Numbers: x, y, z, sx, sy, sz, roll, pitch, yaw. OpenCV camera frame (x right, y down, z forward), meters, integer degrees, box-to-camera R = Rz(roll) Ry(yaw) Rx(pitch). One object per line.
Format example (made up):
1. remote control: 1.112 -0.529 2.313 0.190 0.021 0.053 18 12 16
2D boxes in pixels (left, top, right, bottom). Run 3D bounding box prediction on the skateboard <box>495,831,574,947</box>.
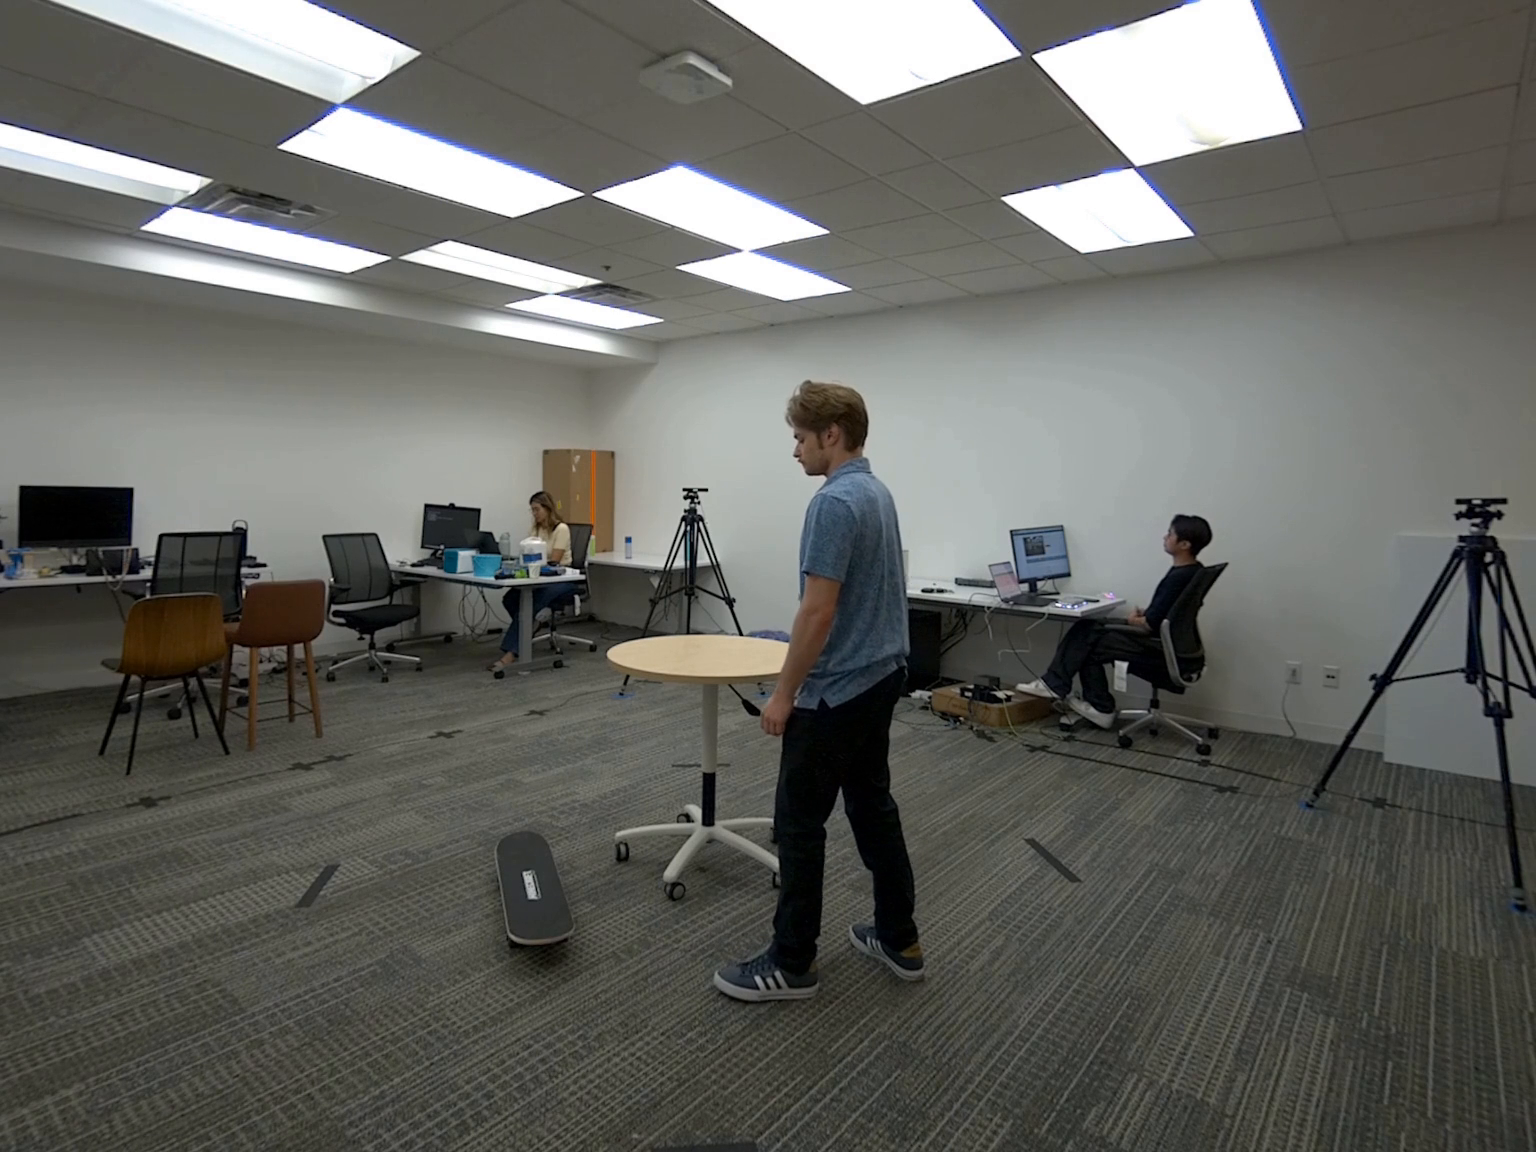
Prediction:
1. skateboard: -0.781 1.036 2.775 0.189 0.110 0.804 -1 6 -21
